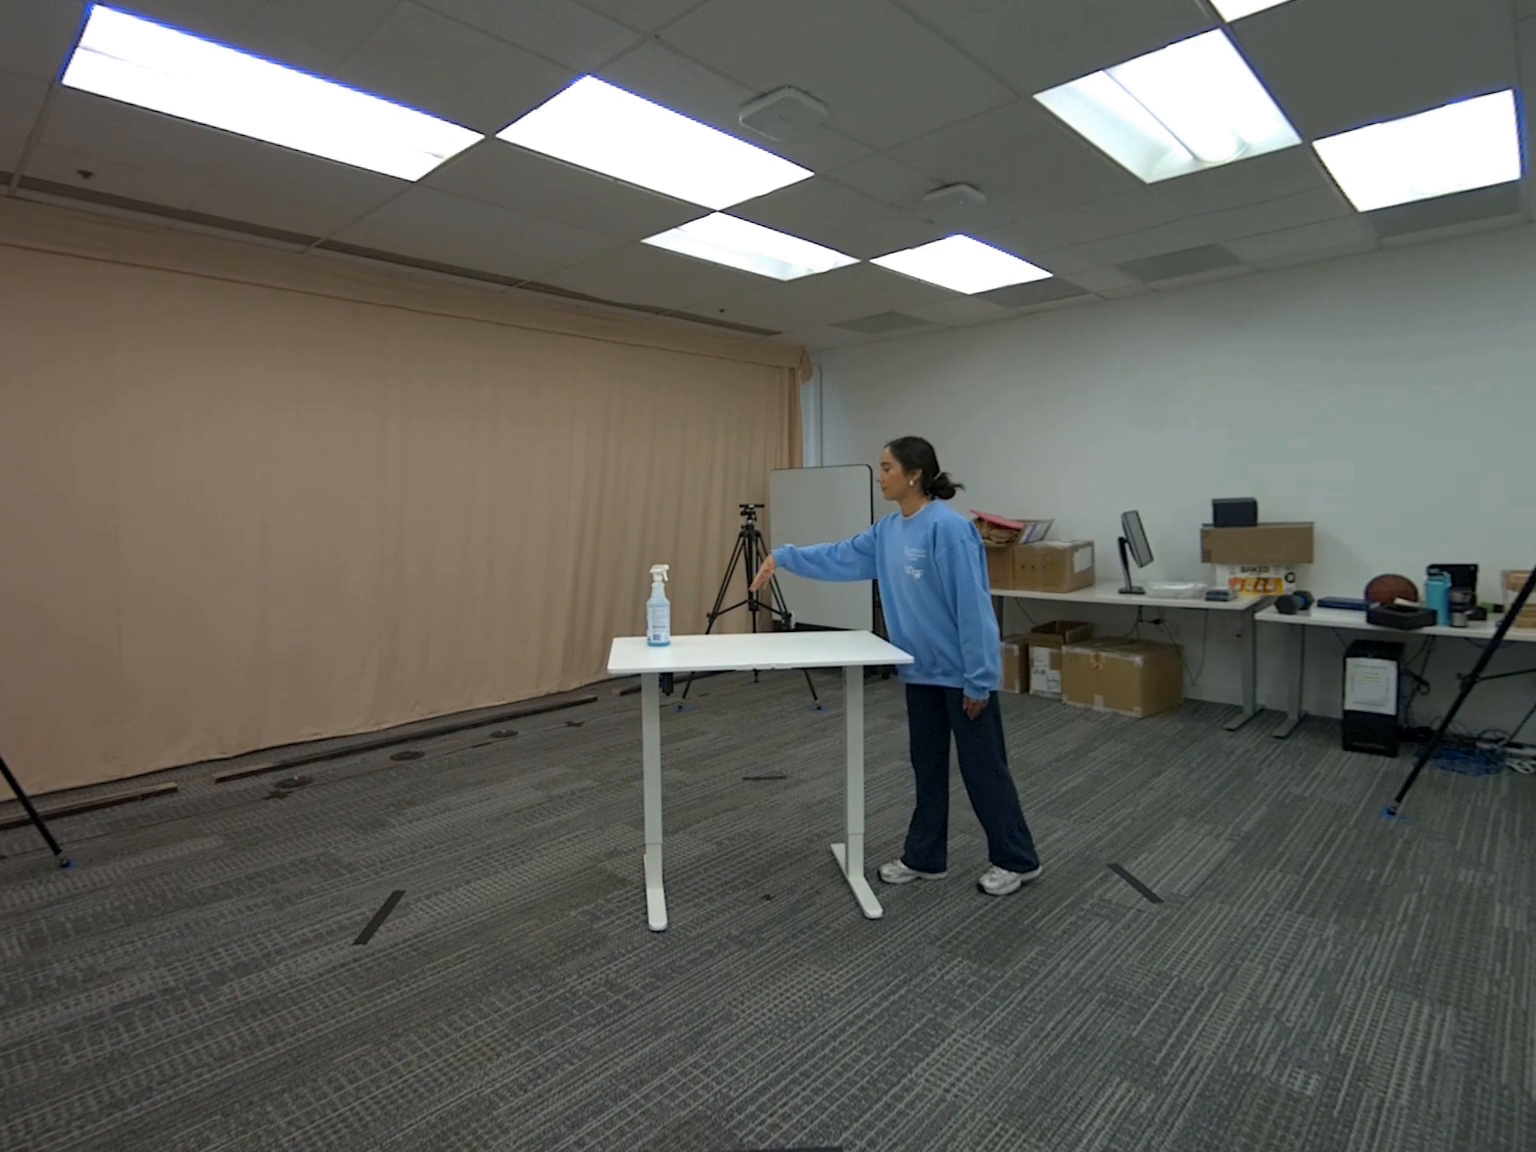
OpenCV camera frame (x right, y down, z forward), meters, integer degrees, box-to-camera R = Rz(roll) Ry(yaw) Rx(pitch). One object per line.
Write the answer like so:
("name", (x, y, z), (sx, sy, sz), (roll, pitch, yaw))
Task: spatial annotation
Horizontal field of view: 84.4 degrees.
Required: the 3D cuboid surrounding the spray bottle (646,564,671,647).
("spray bottle", (-0.401, 0.110, 3.095), (0.085, 0.296, 0.092), (-2, 5, -22))
